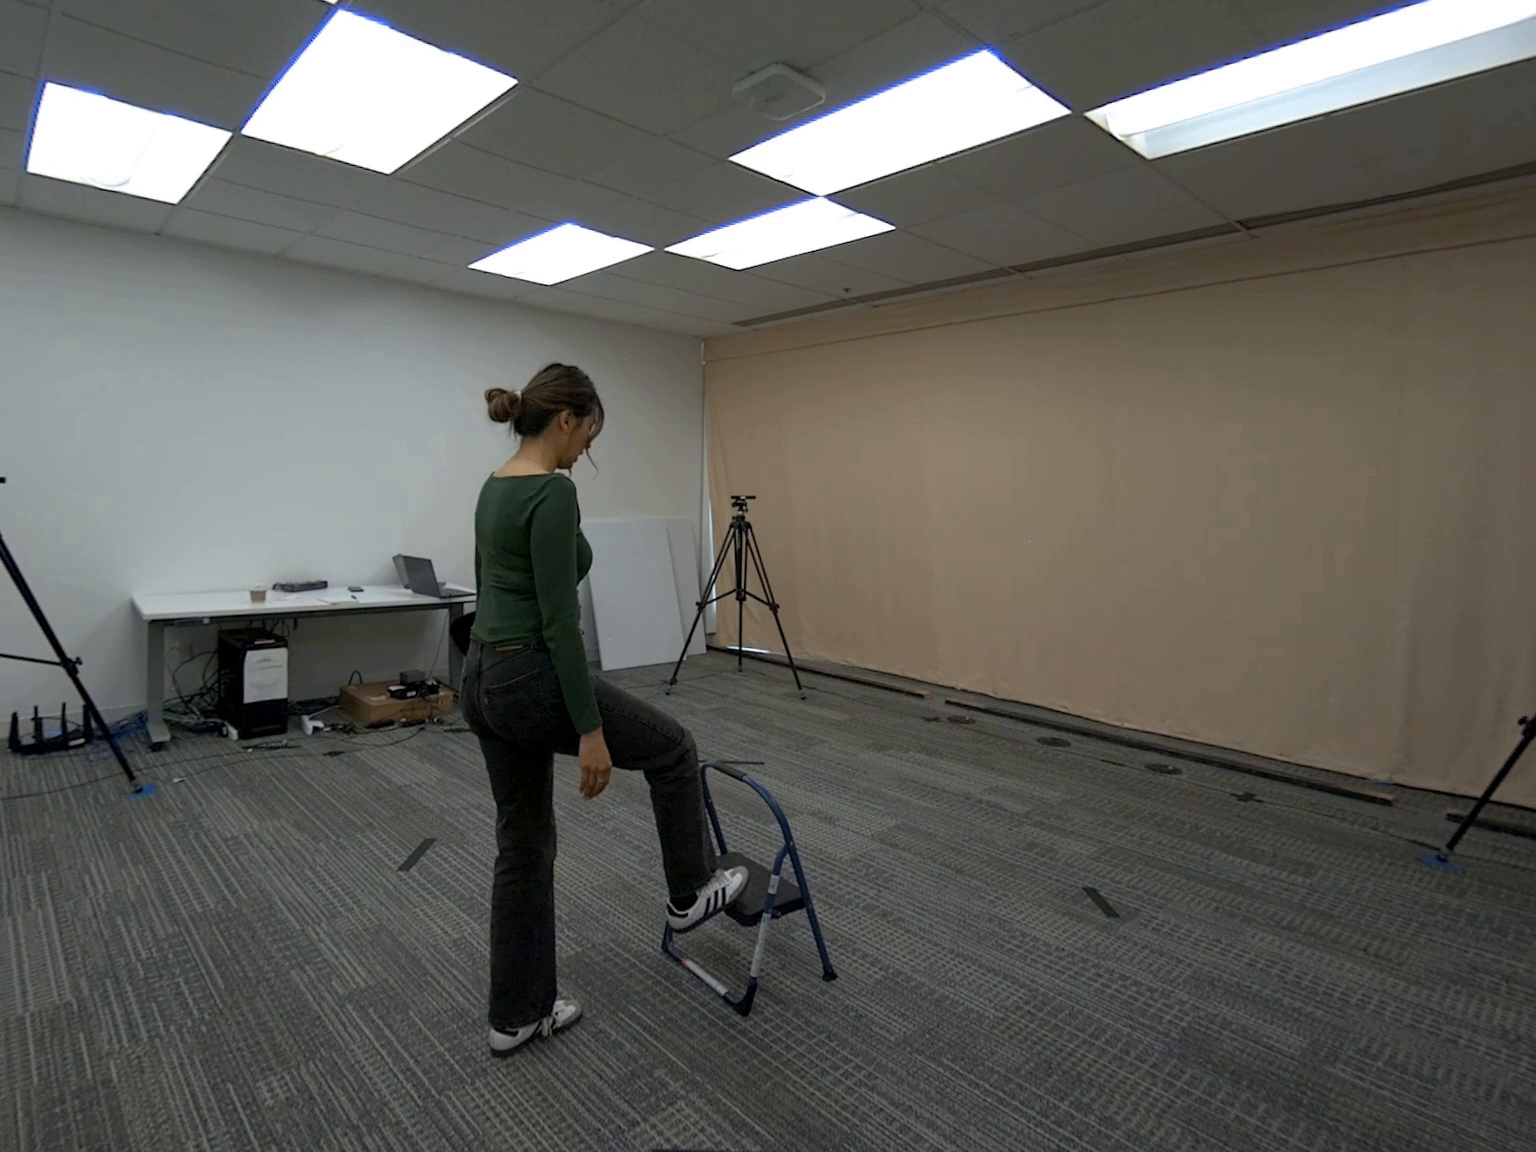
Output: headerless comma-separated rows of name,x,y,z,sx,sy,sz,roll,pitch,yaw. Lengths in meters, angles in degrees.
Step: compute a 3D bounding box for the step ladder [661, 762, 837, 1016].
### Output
step ladder,-0.063,0.857,2.496,0.341,0.604,0.441,-2,5,-40
